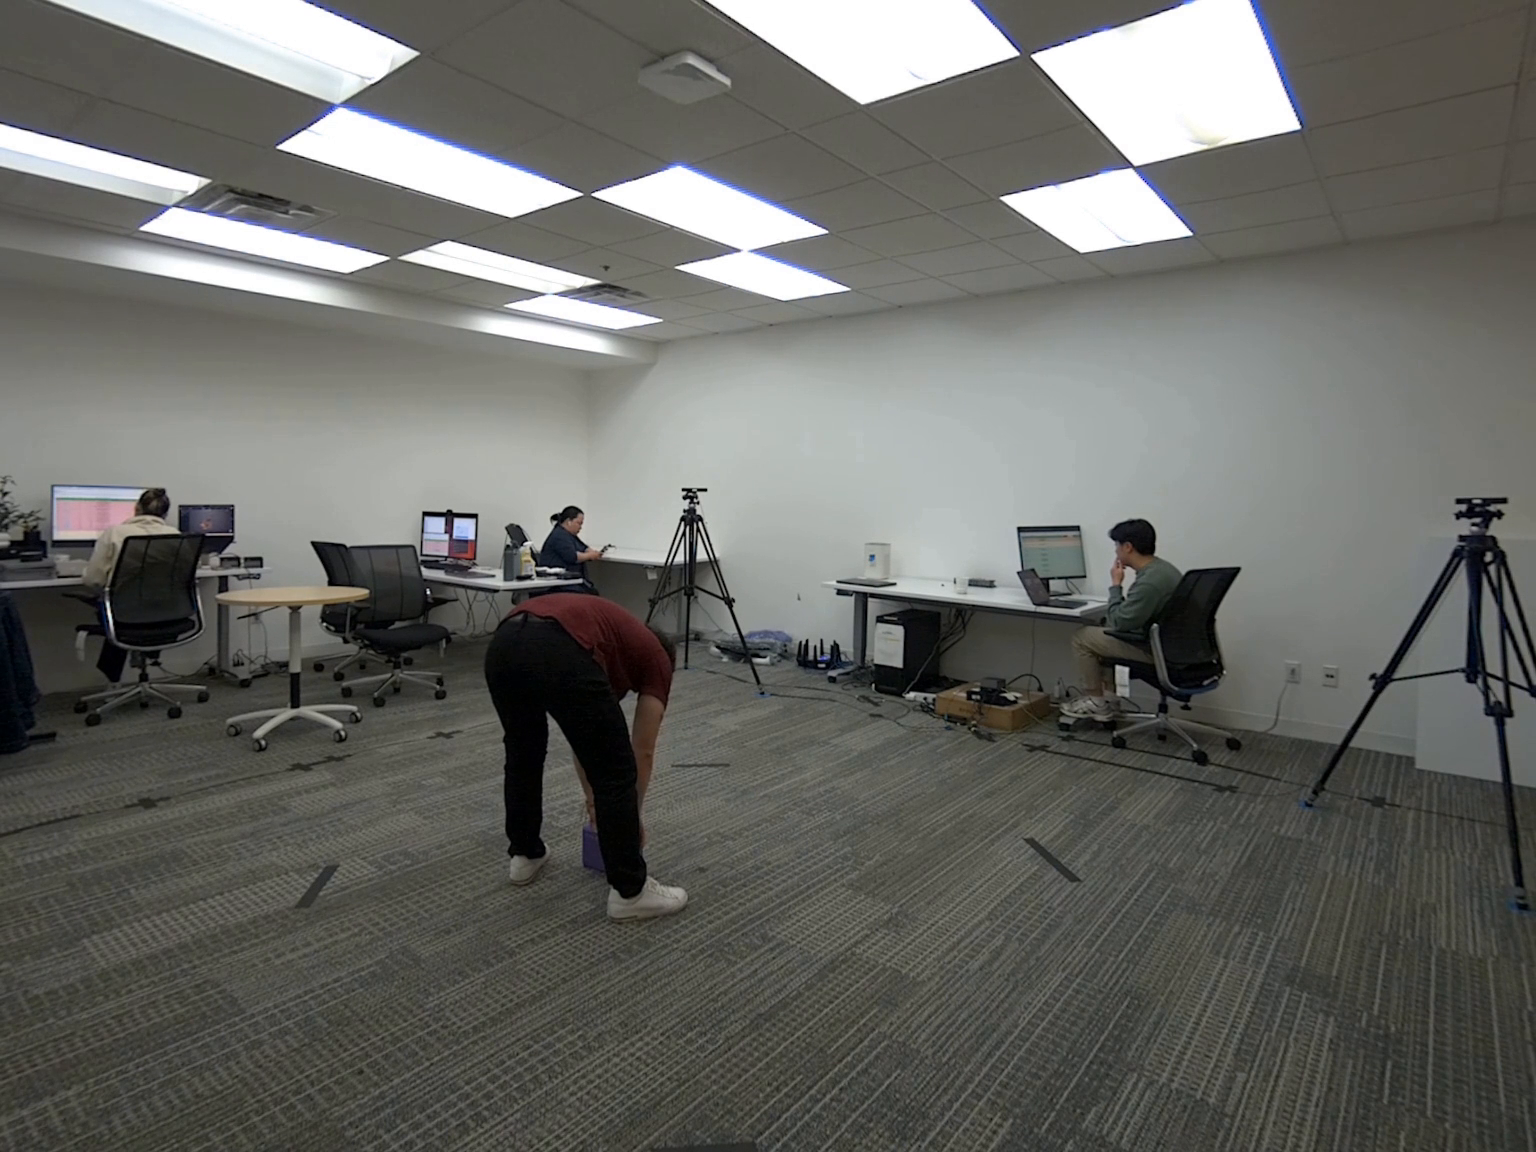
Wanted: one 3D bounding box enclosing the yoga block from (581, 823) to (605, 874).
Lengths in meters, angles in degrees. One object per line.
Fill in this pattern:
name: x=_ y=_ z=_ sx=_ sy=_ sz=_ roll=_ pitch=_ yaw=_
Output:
yoga block: x=-0.582 y=0.995 z=3.077 sx=0.236 sy=0.148 sz=0.075 roll=3 pitch=10 yaw=29
